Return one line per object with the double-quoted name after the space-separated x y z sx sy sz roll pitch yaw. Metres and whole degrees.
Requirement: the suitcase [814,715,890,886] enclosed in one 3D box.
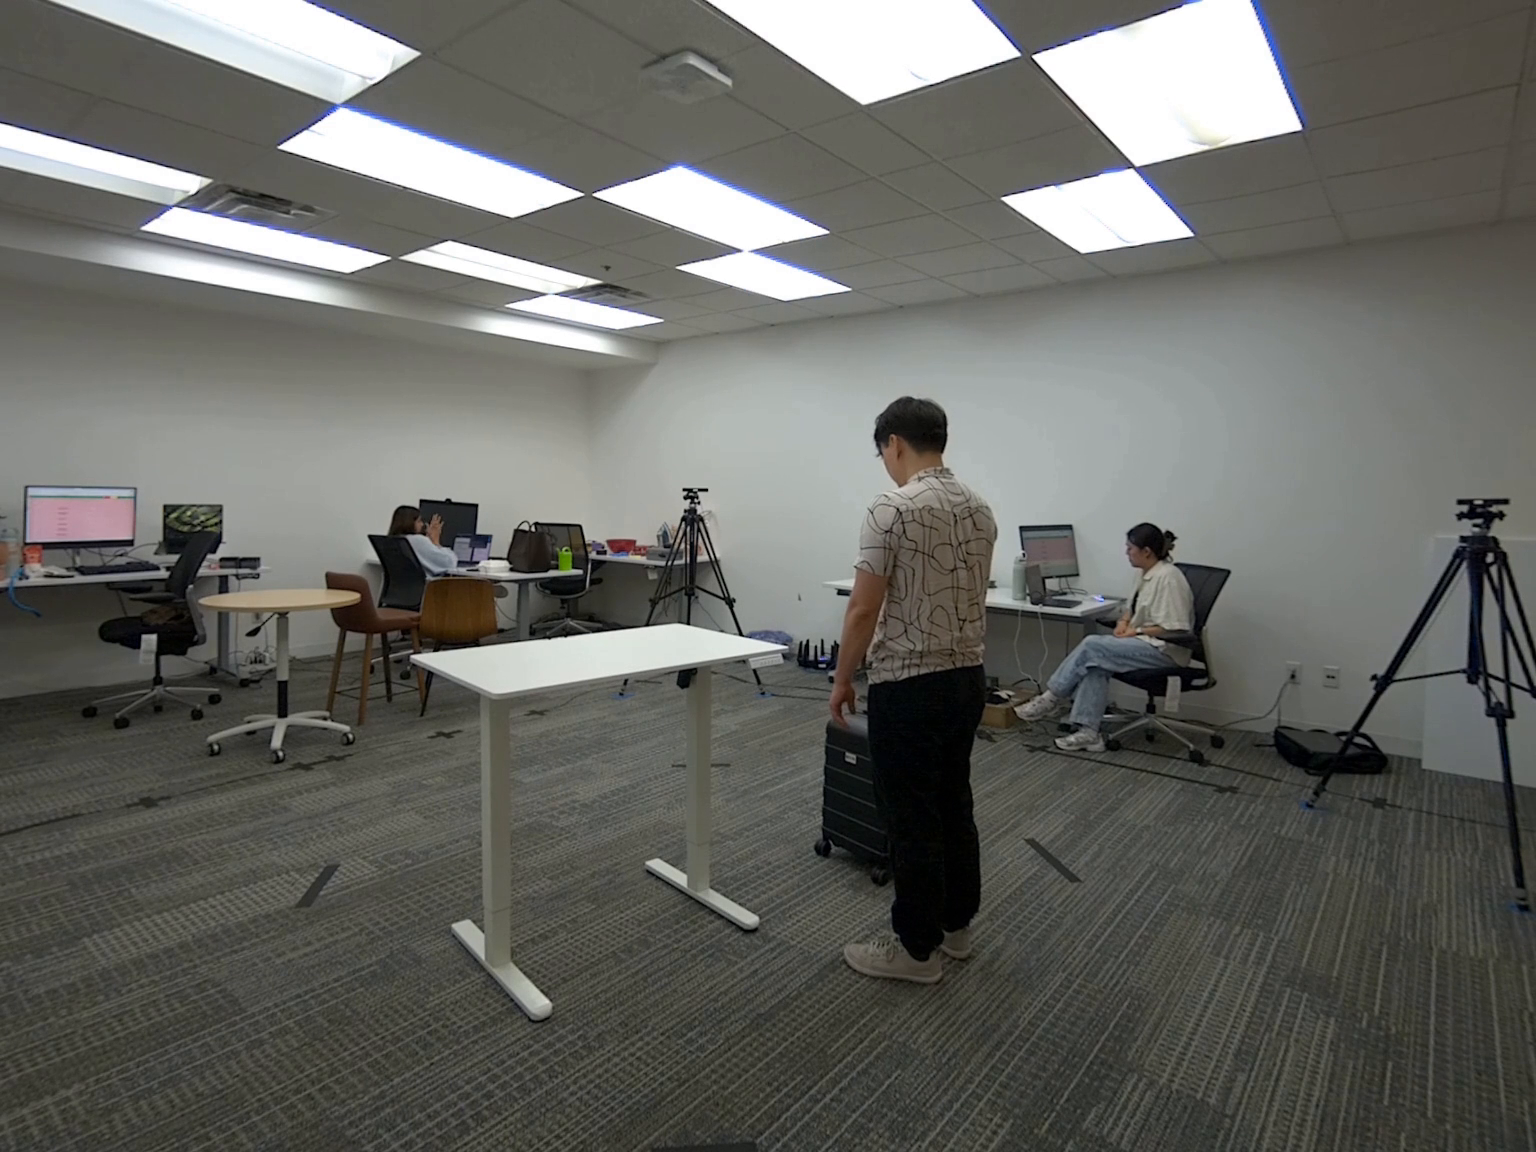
0.395 0.794 3.210 0.240 0.548 0.388 -1 3 -41 "suitcase"
